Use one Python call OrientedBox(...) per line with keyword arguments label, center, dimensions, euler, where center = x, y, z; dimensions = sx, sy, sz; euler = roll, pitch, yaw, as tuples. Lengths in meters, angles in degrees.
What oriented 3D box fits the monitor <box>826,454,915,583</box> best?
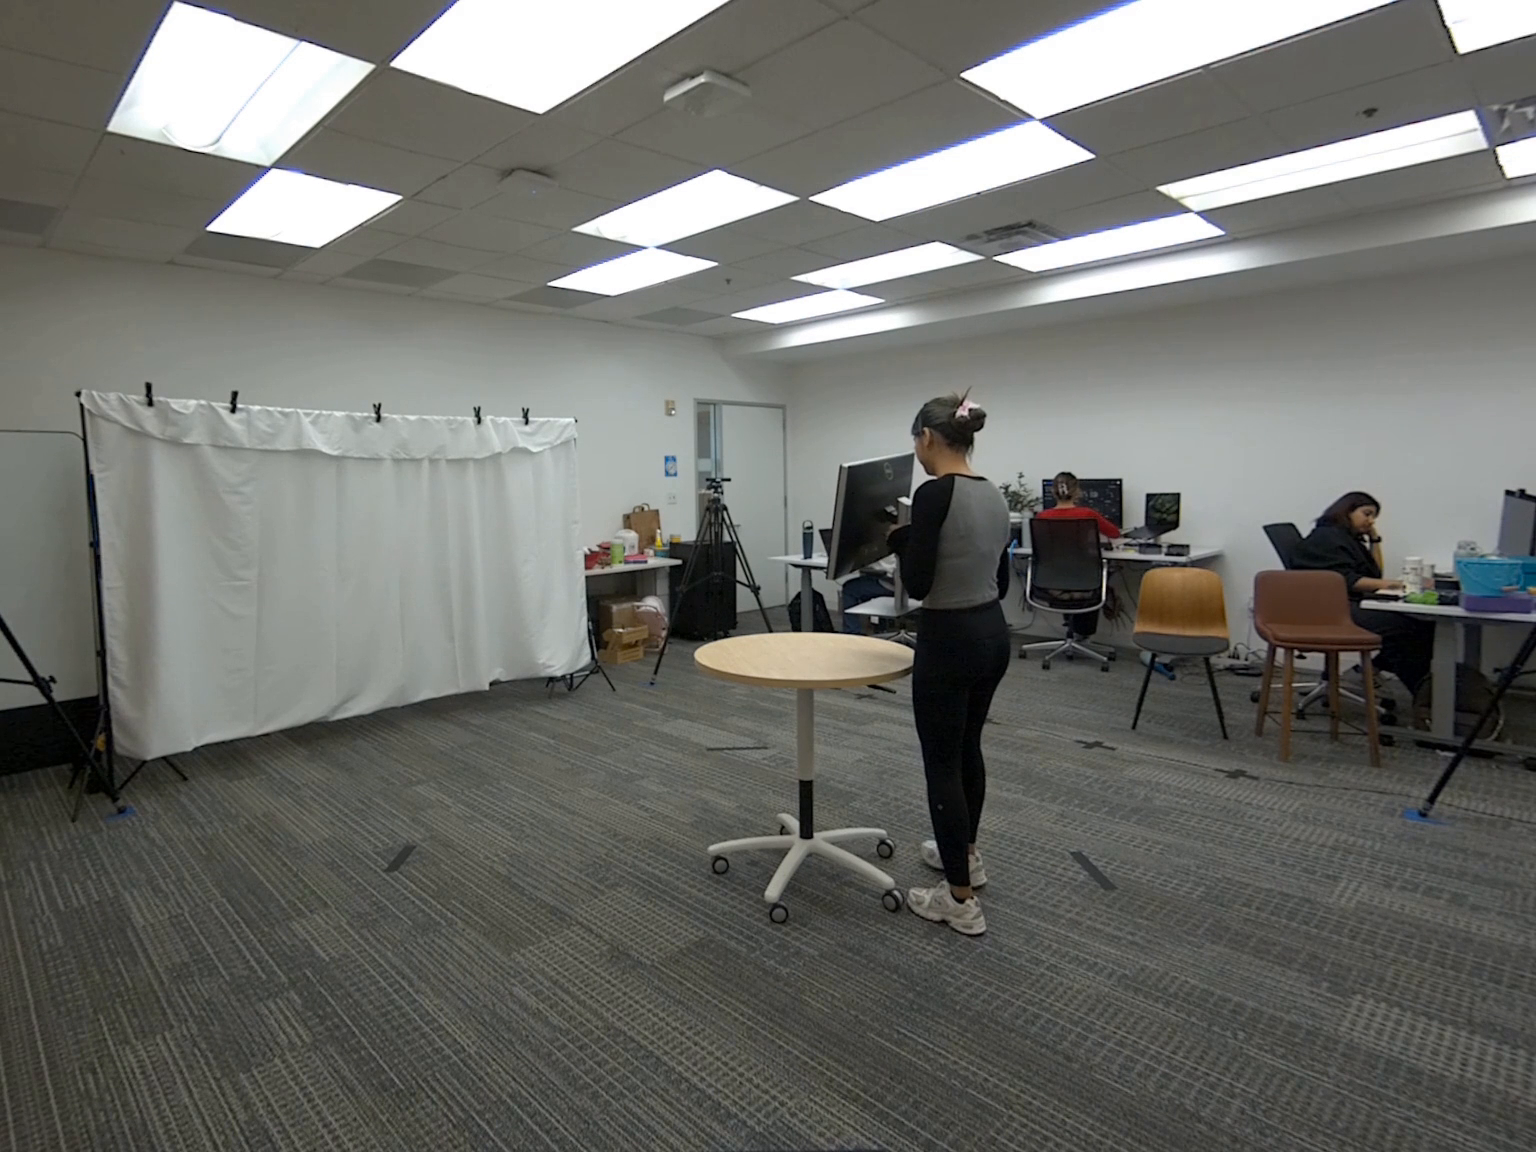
OrientedBox(label="monitor", center=(0.390, -0.132, 2.812), dimensions=(0.192, 0.519, 0.529), euler=(-2, 9, 30))
